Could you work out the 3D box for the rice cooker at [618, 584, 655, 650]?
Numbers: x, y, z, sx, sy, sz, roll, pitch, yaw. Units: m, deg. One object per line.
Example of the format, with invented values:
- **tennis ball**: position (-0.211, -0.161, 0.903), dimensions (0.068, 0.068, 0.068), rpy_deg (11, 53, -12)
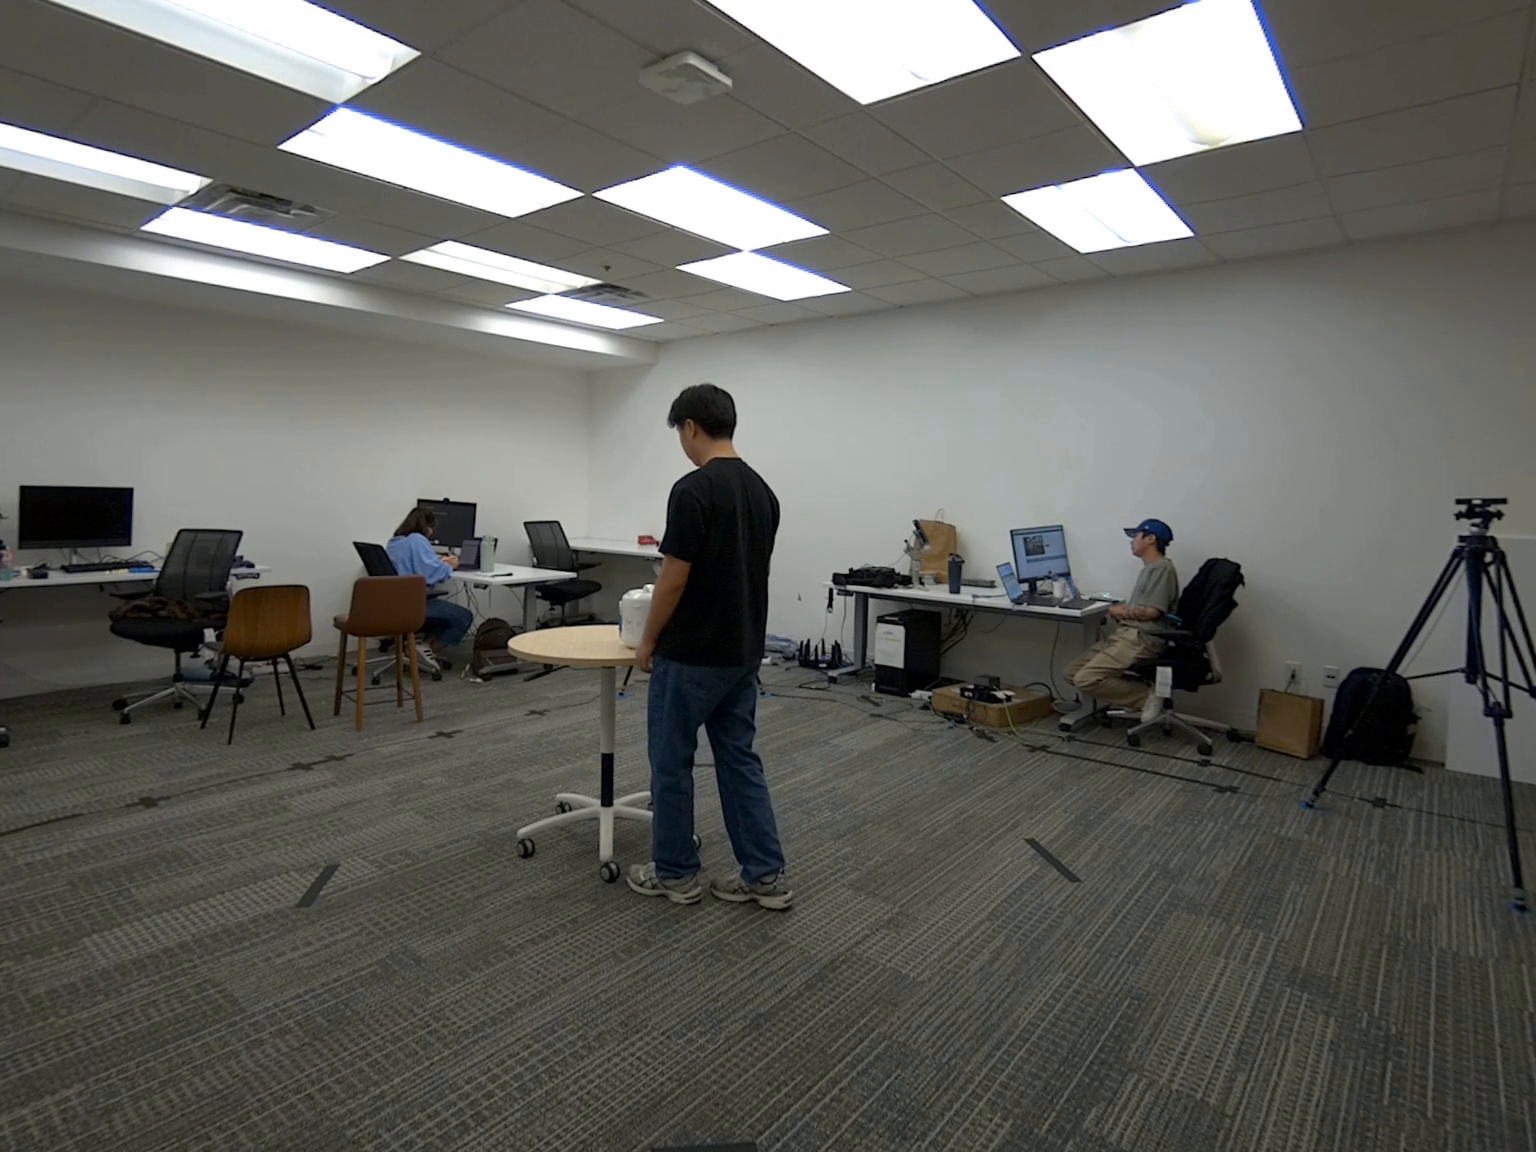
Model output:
- **rice cooker**: position (-0.452, 0.145, 3.187), dimensions (0.213, 0.232, 0.225), rpy_deg (0, 4, -18)
